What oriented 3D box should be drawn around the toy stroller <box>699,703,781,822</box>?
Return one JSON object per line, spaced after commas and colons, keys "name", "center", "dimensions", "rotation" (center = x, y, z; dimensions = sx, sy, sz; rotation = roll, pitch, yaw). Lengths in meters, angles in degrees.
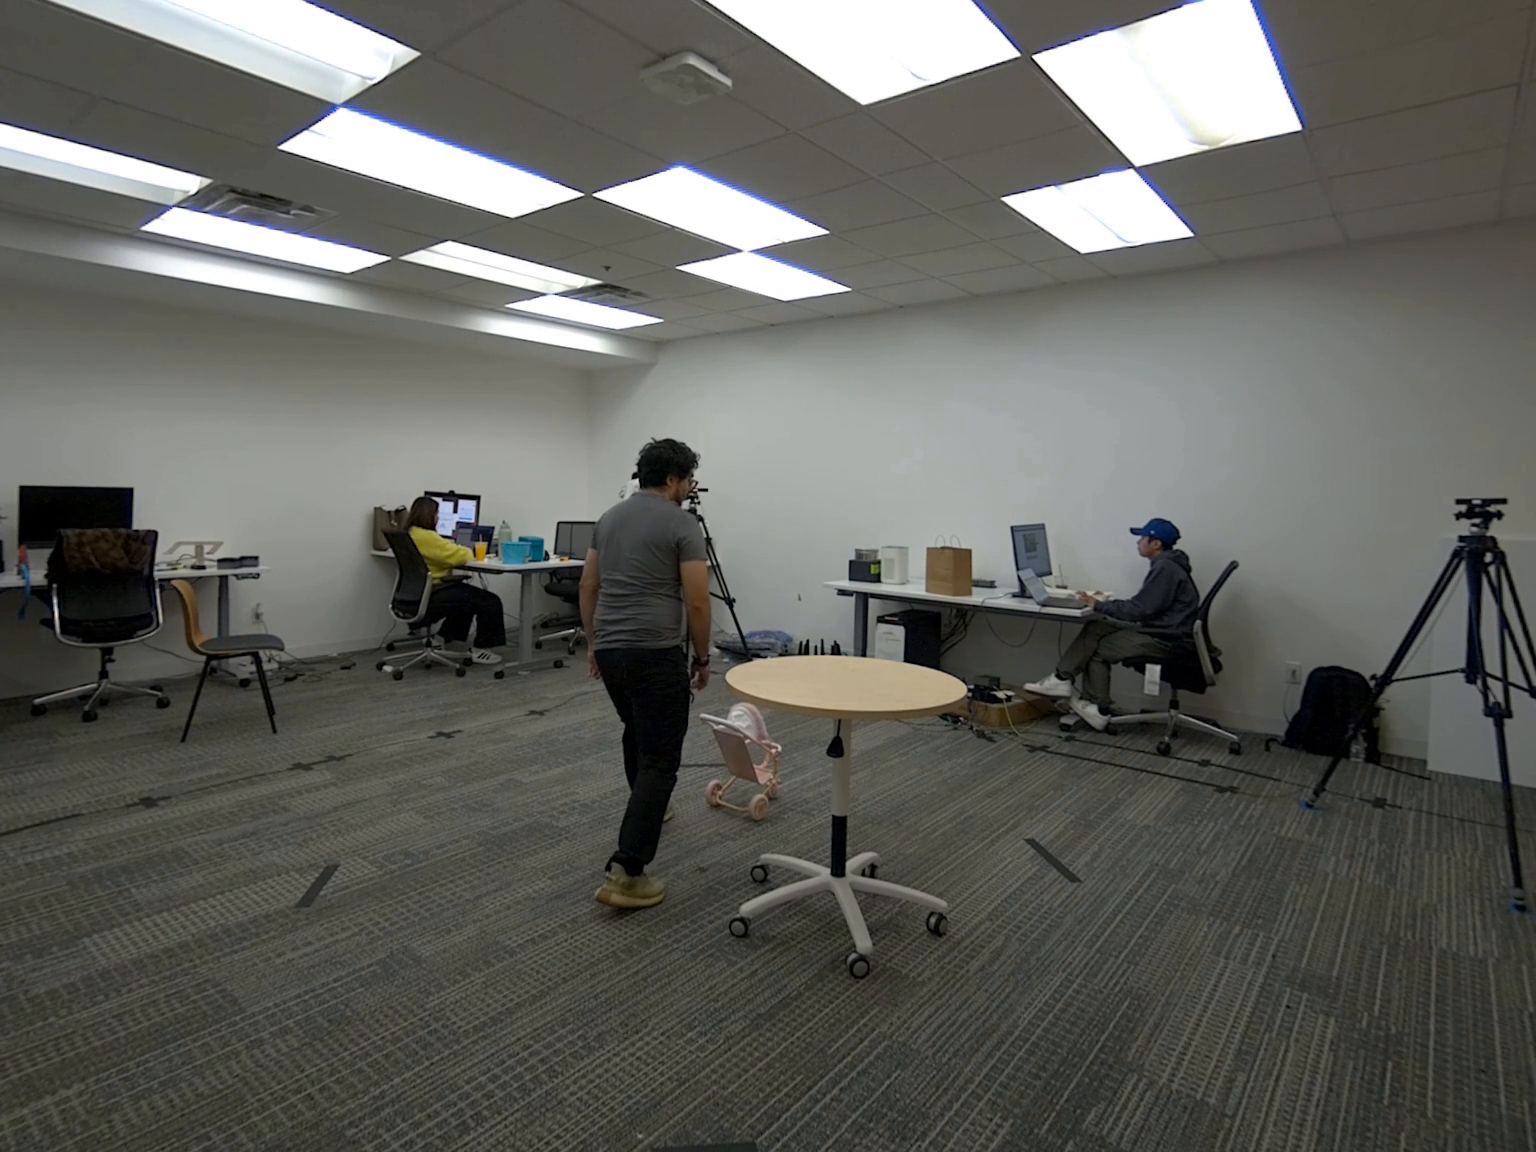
{"name": "toy stroller", "center": [-0.103, 0.785, 3.706], "dimensions": [0.291, 0.527, 0.335], "rotation": [4, 20, 44]}
